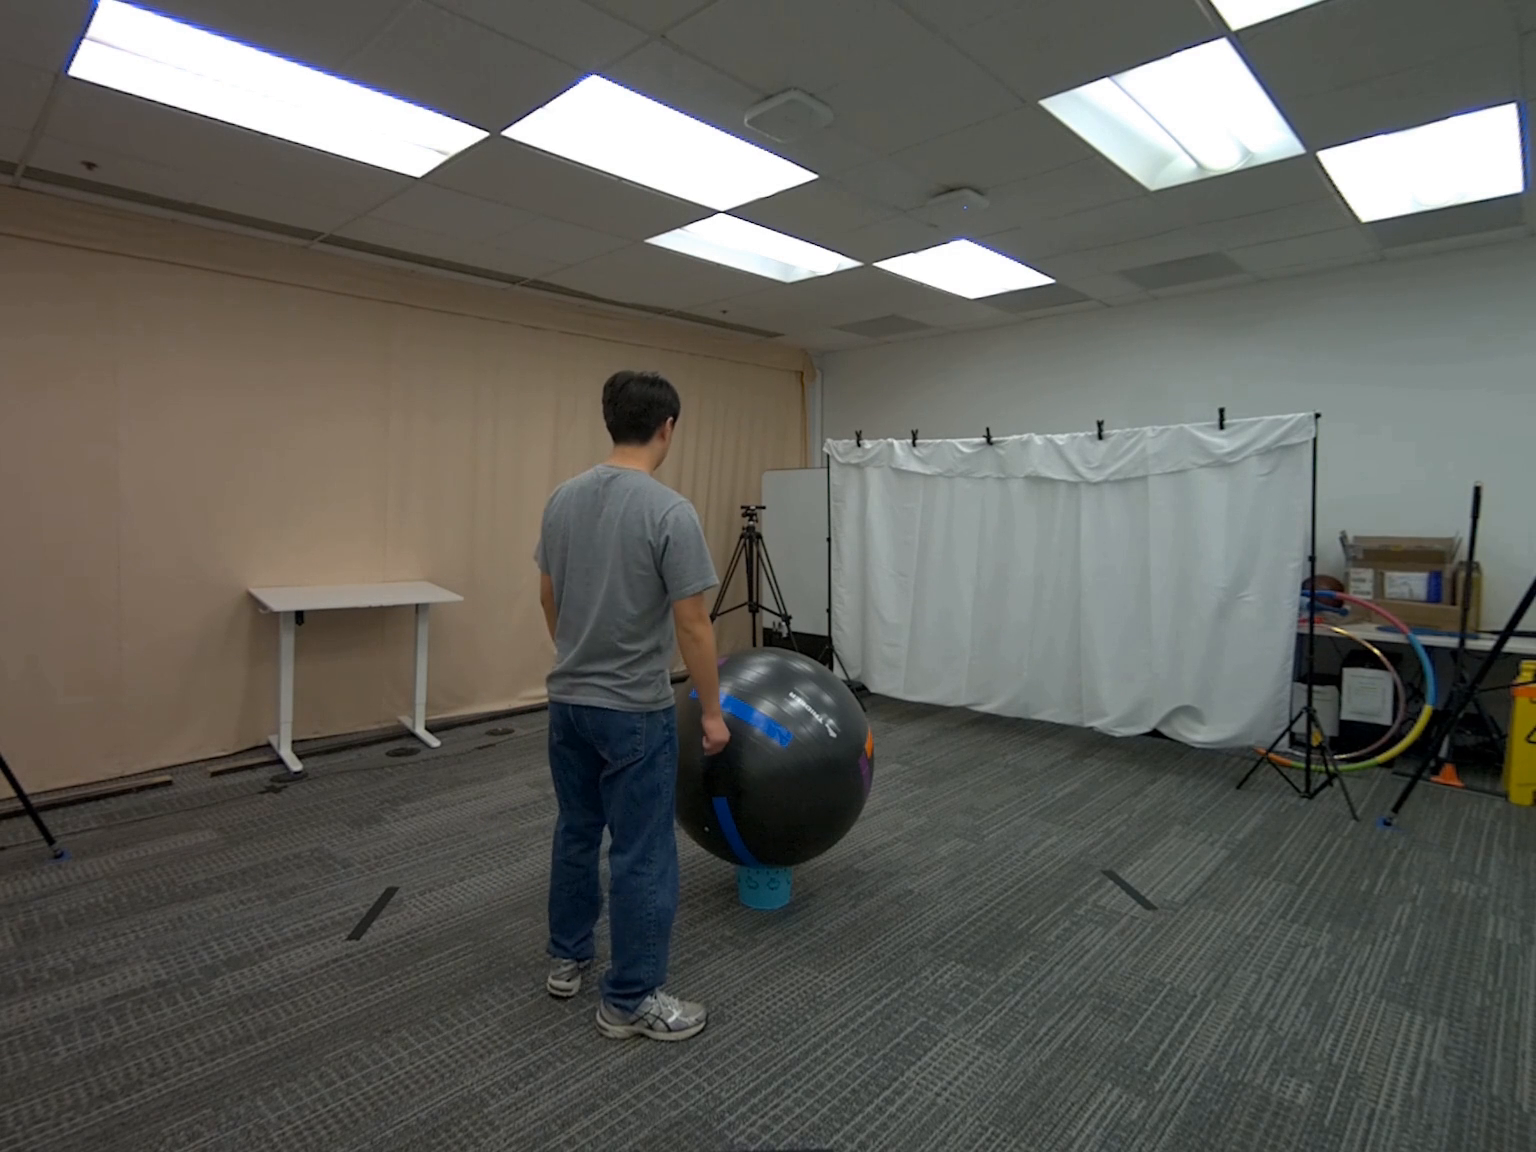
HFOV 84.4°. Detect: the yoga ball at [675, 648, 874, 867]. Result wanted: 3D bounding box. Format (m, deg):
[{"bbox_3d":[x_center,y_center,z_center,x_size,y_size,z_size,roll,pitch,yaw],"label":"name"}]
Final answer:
[{"bbox_3d":[-0.009,0.635,2.979,0.757,0.756,0.760,0,4,-2],"label":"yoga ball"}]
